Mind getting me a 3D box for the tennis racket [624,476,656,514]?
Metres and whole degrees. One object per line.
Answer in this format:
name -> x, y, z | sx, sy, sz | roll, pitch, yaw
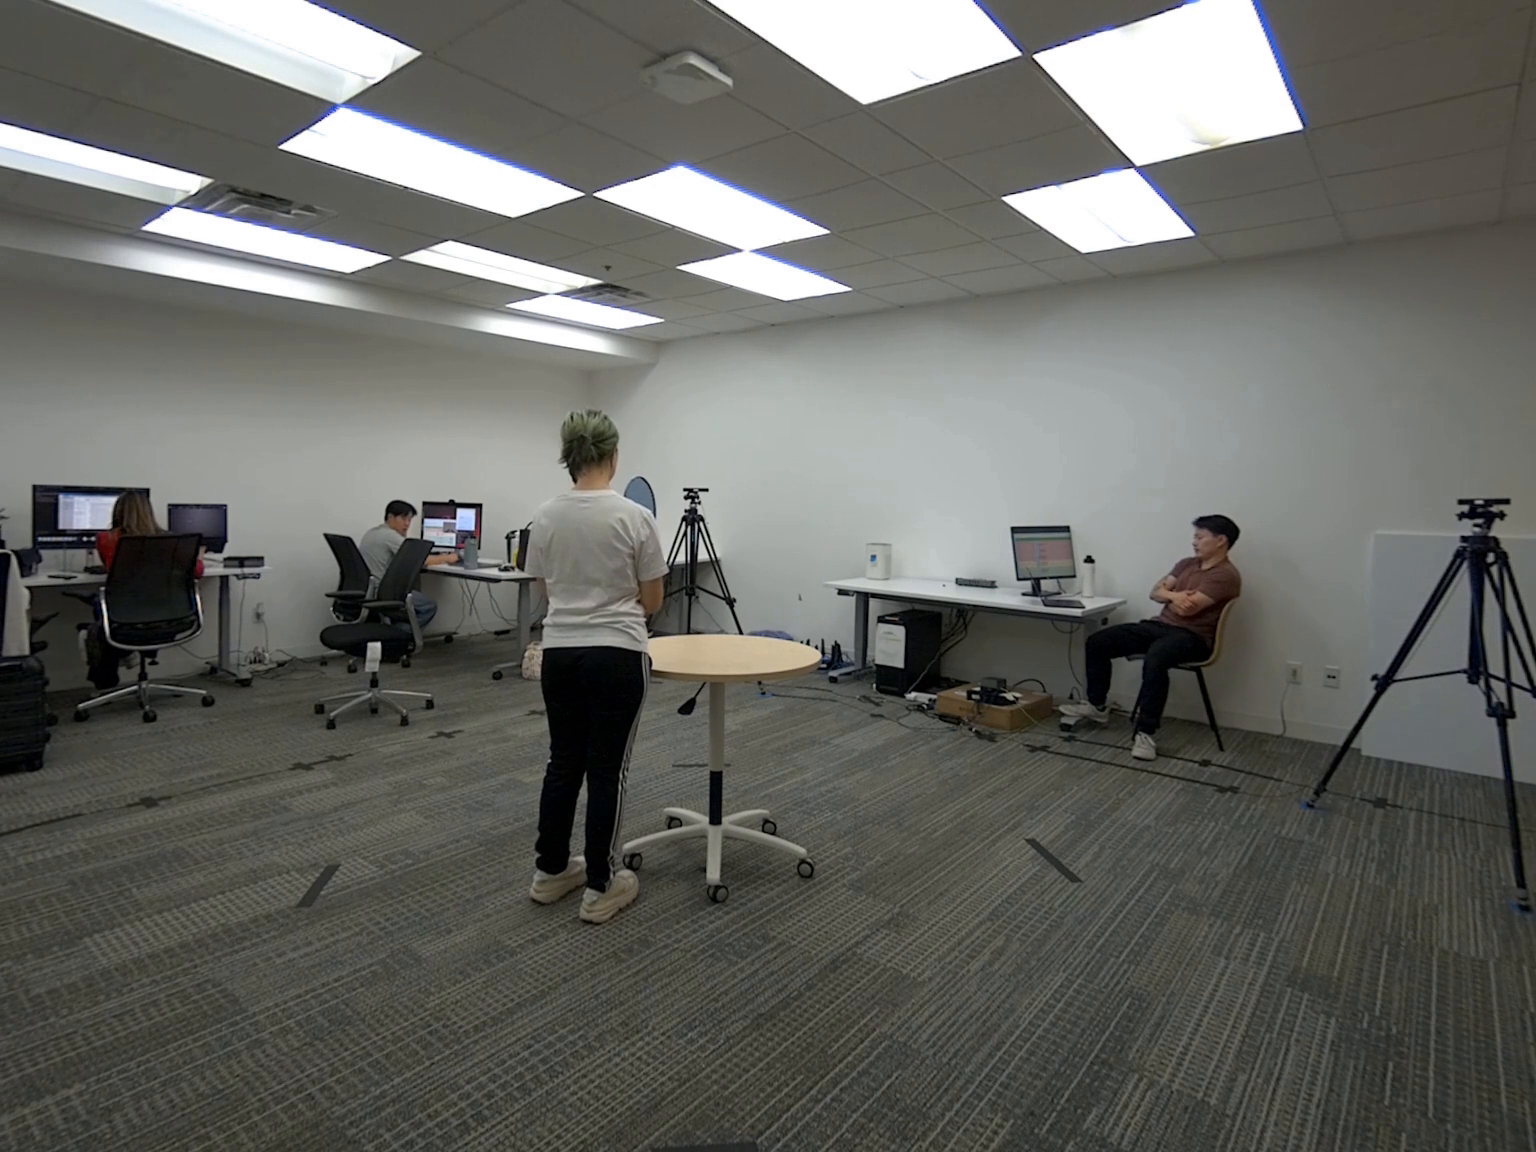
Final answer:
tennis racket -> -0.496, -0.172, 3.107 | 0.032, 0.442, 0.205 | -9, -34, 25
